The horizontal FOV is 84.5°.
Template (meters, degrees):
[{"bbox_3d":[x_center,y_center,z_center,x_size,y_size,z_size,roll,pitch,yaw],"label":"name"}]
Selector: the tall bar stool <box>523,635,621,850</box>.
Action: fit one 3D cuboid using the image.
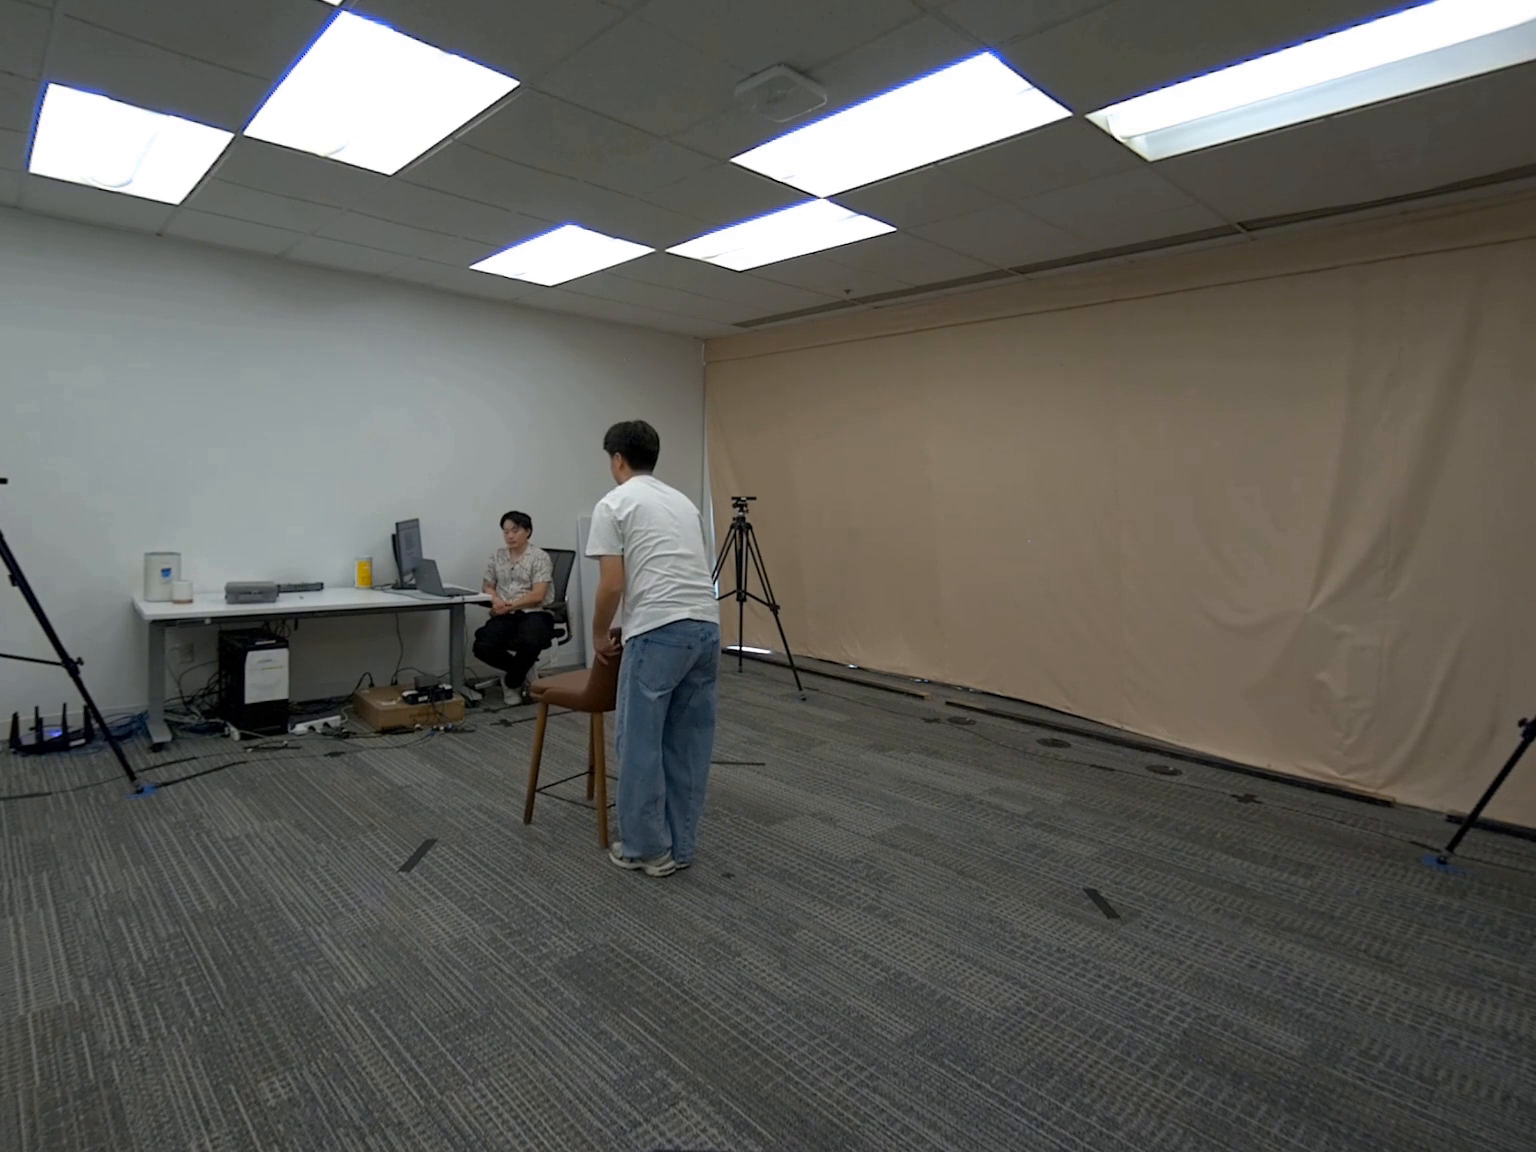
[{"bbox_3d":[-0.725,0.615,3.556,0.479,0.887,0.447,6,5,35],"label":"tall bar stool"}]
